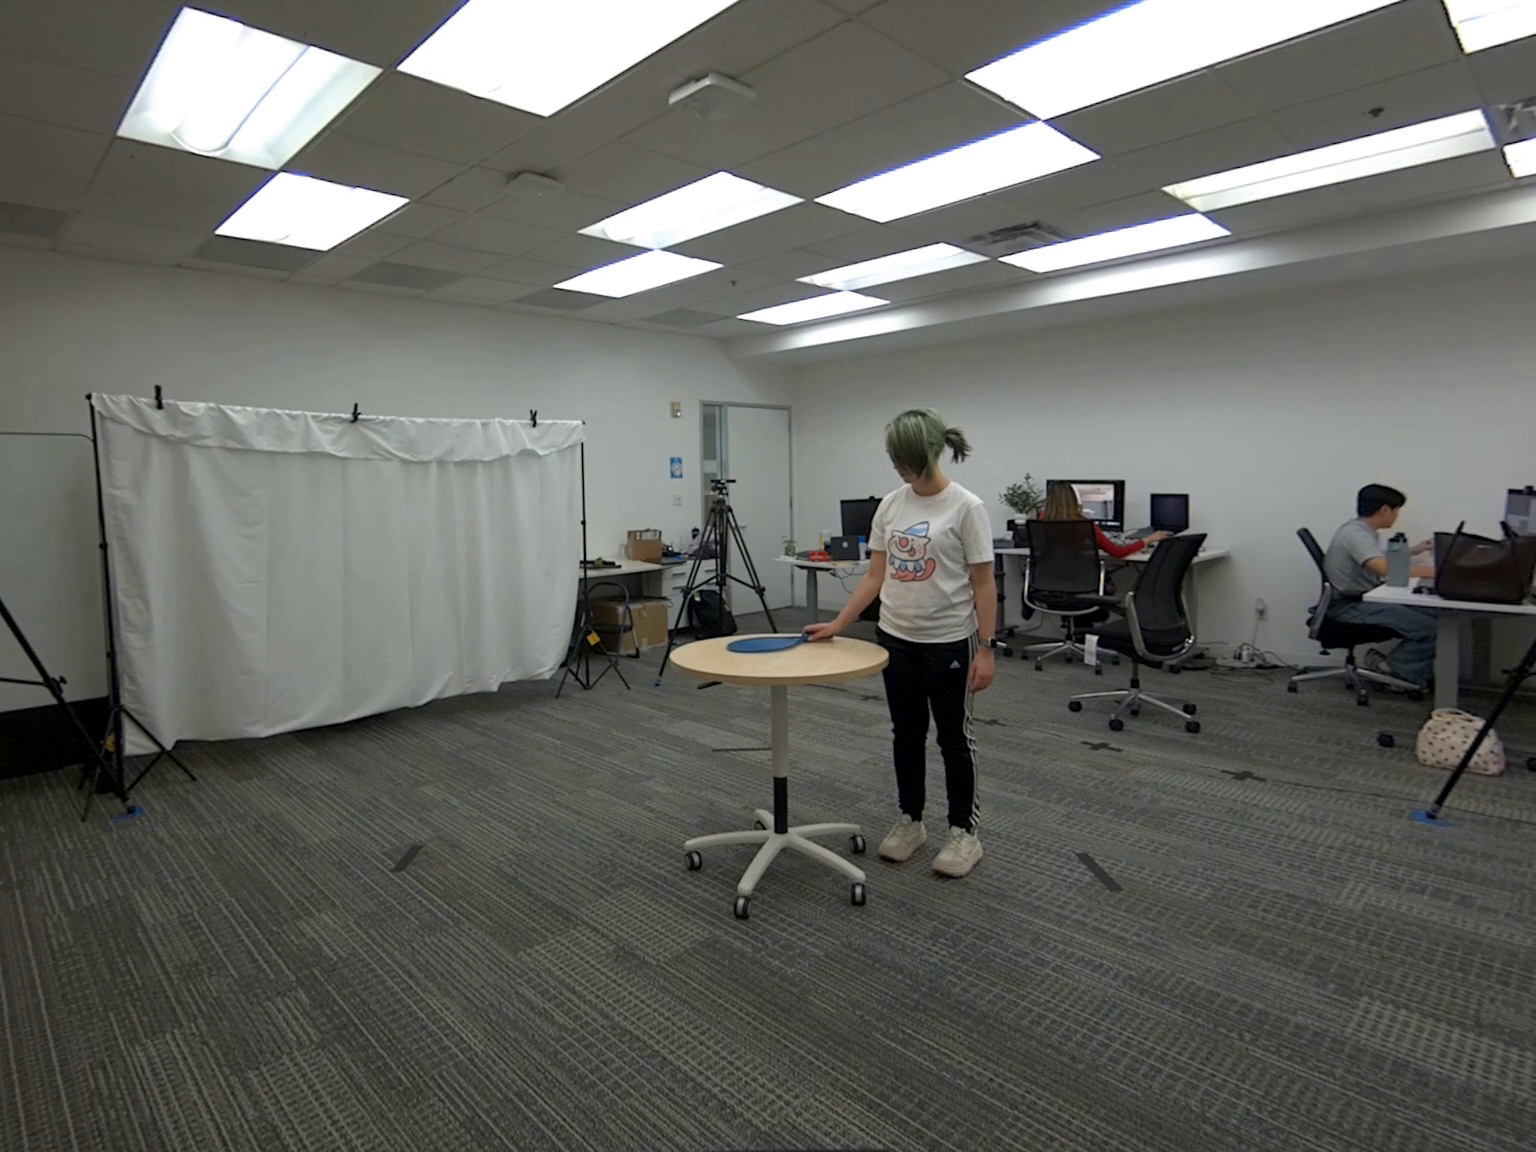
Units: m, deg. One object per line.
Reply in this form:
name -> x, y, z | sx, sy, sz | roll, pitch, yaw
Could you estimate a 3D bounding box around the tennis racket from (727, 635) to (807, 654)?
tennis racket -> 0.058, 0.246, 3.150 | 0.427, 0.031, 0.218 | -5, 8, -17
